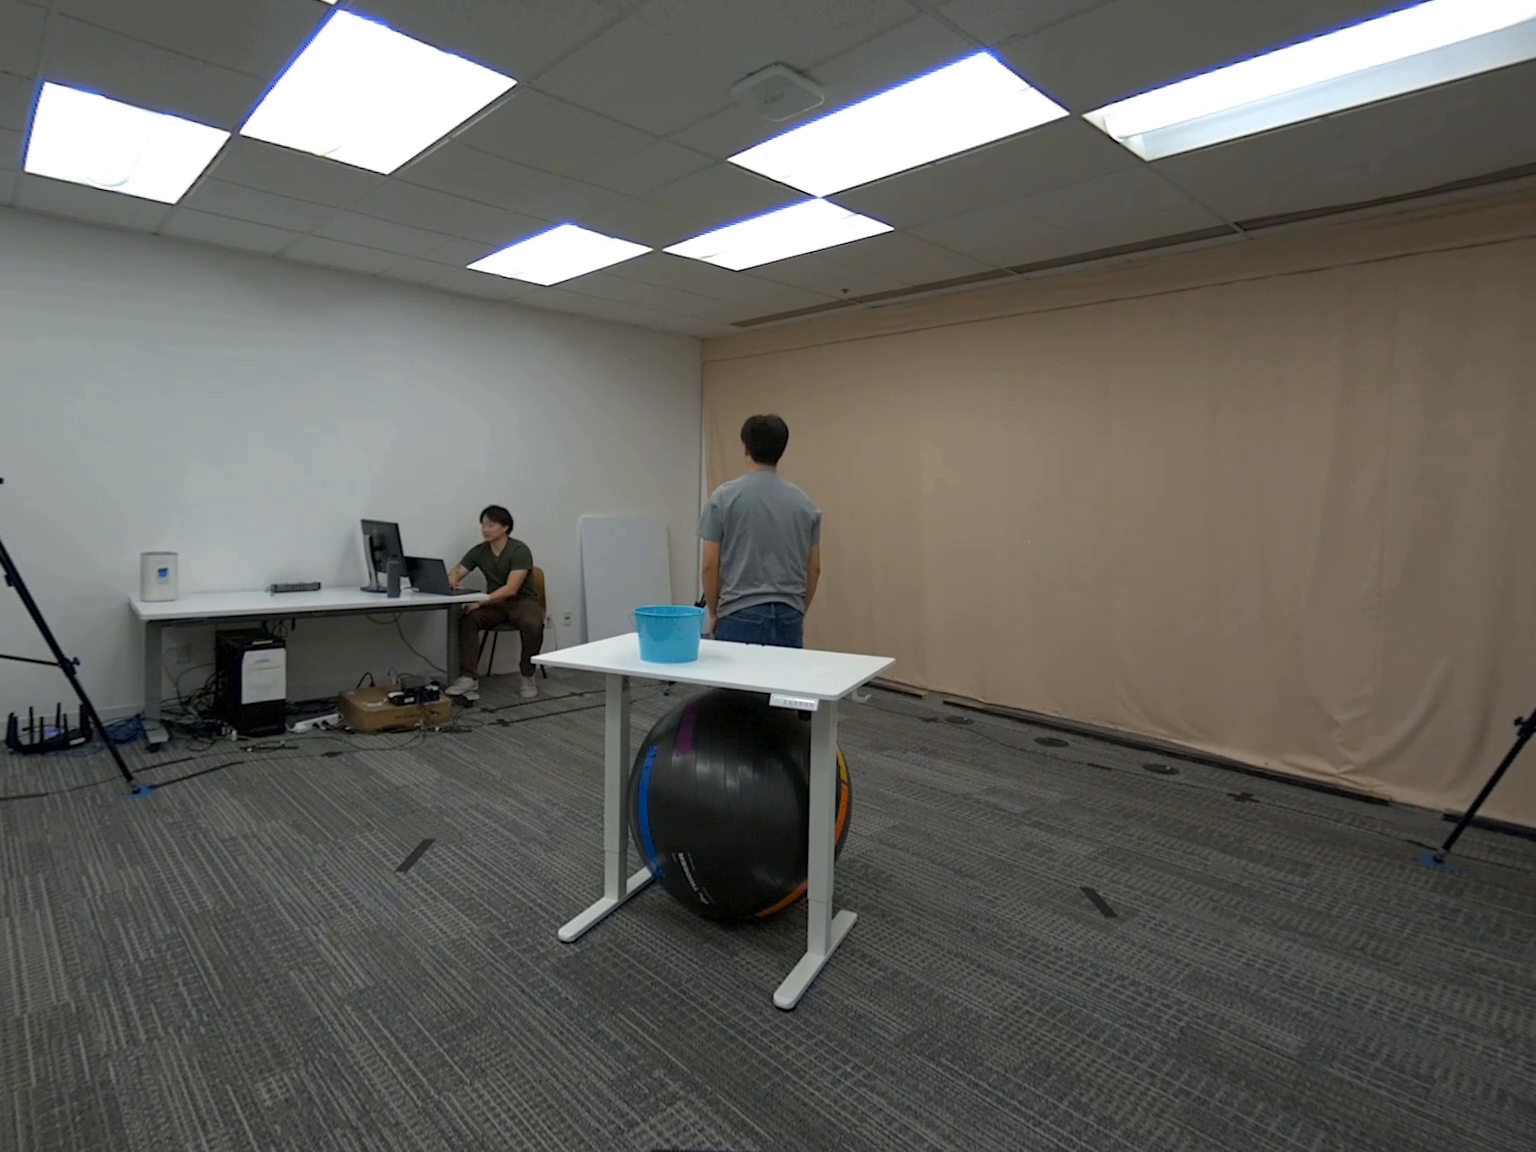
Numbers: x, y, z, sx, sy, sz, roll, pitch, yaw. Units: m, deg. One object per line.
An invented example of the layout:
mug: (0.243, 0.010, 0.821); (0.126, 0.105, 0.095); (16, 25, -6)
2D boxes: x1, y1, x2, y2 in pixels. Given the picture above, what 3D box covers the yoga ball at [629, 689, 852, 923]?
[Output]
yoga ball: (-0.105, 0.749, 2.862); (0.757, 0.756, 0.761); (1, 4, -1)
